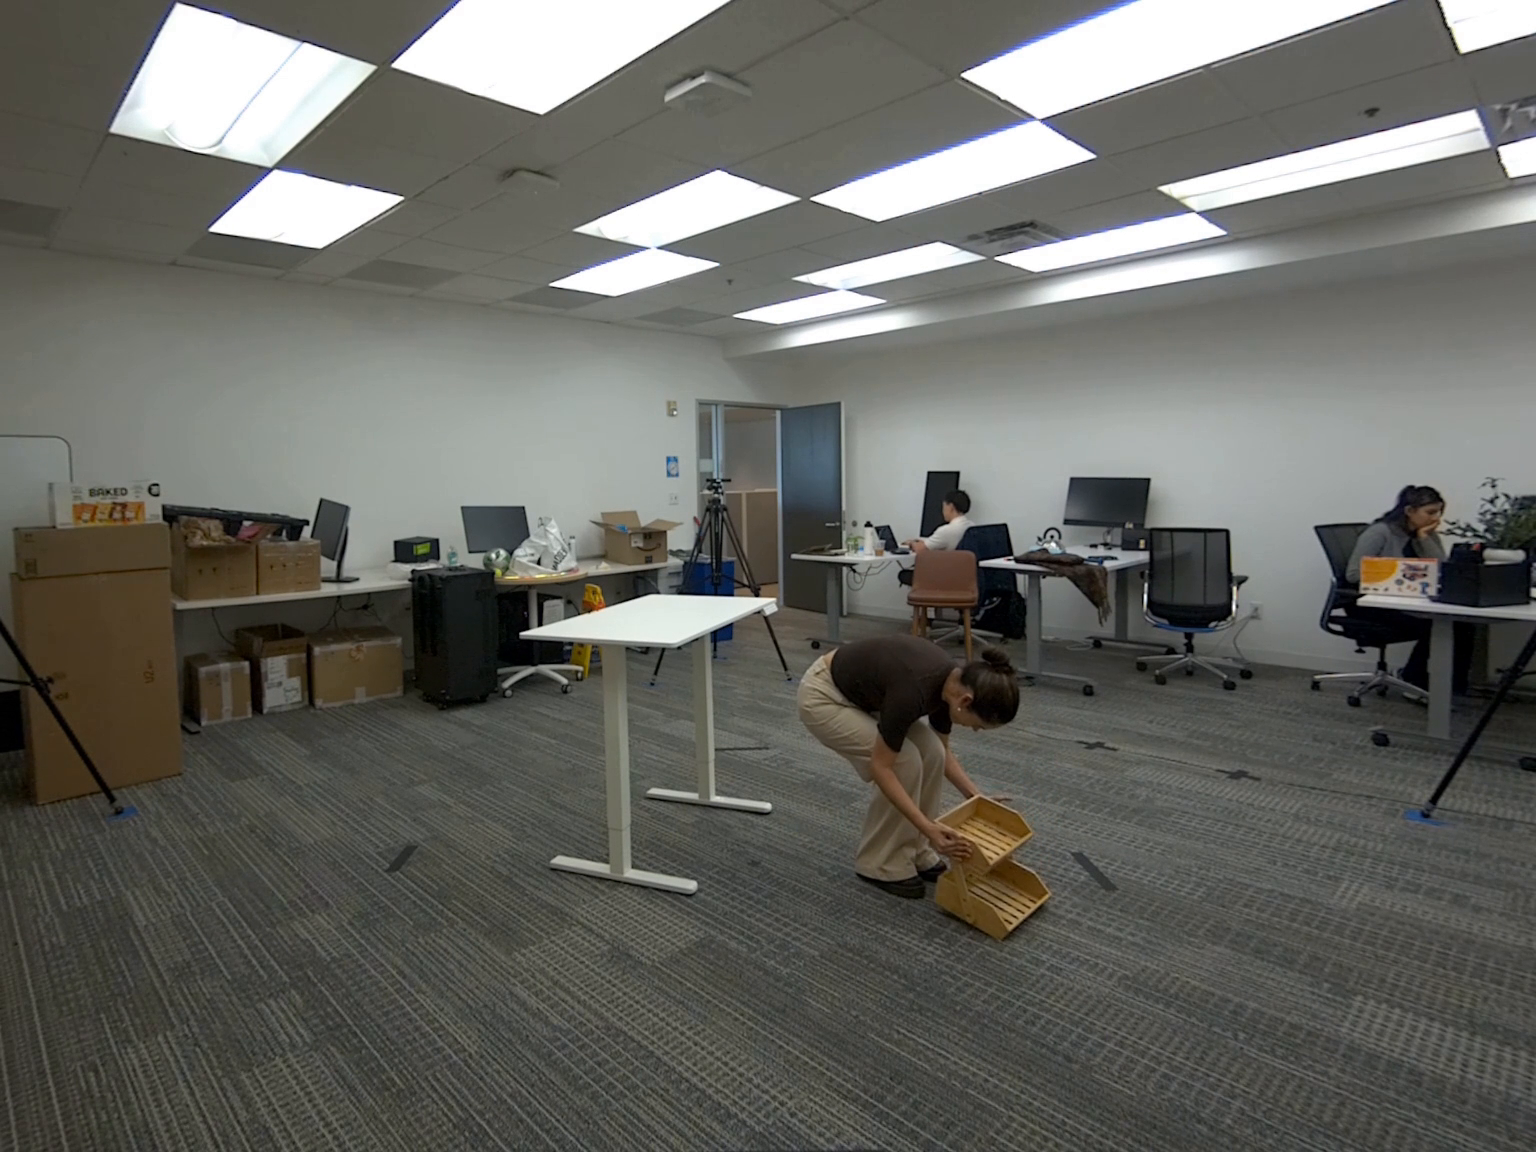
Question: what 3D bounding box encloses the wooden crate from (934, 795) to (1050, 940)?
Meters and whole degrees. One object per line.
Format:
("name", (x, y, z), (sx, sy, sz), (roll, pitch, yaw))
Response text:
("wooden crate", (0.721, 0.921, 2.725), (0.313, 0.271, 0.316), (16, 15, 40))
